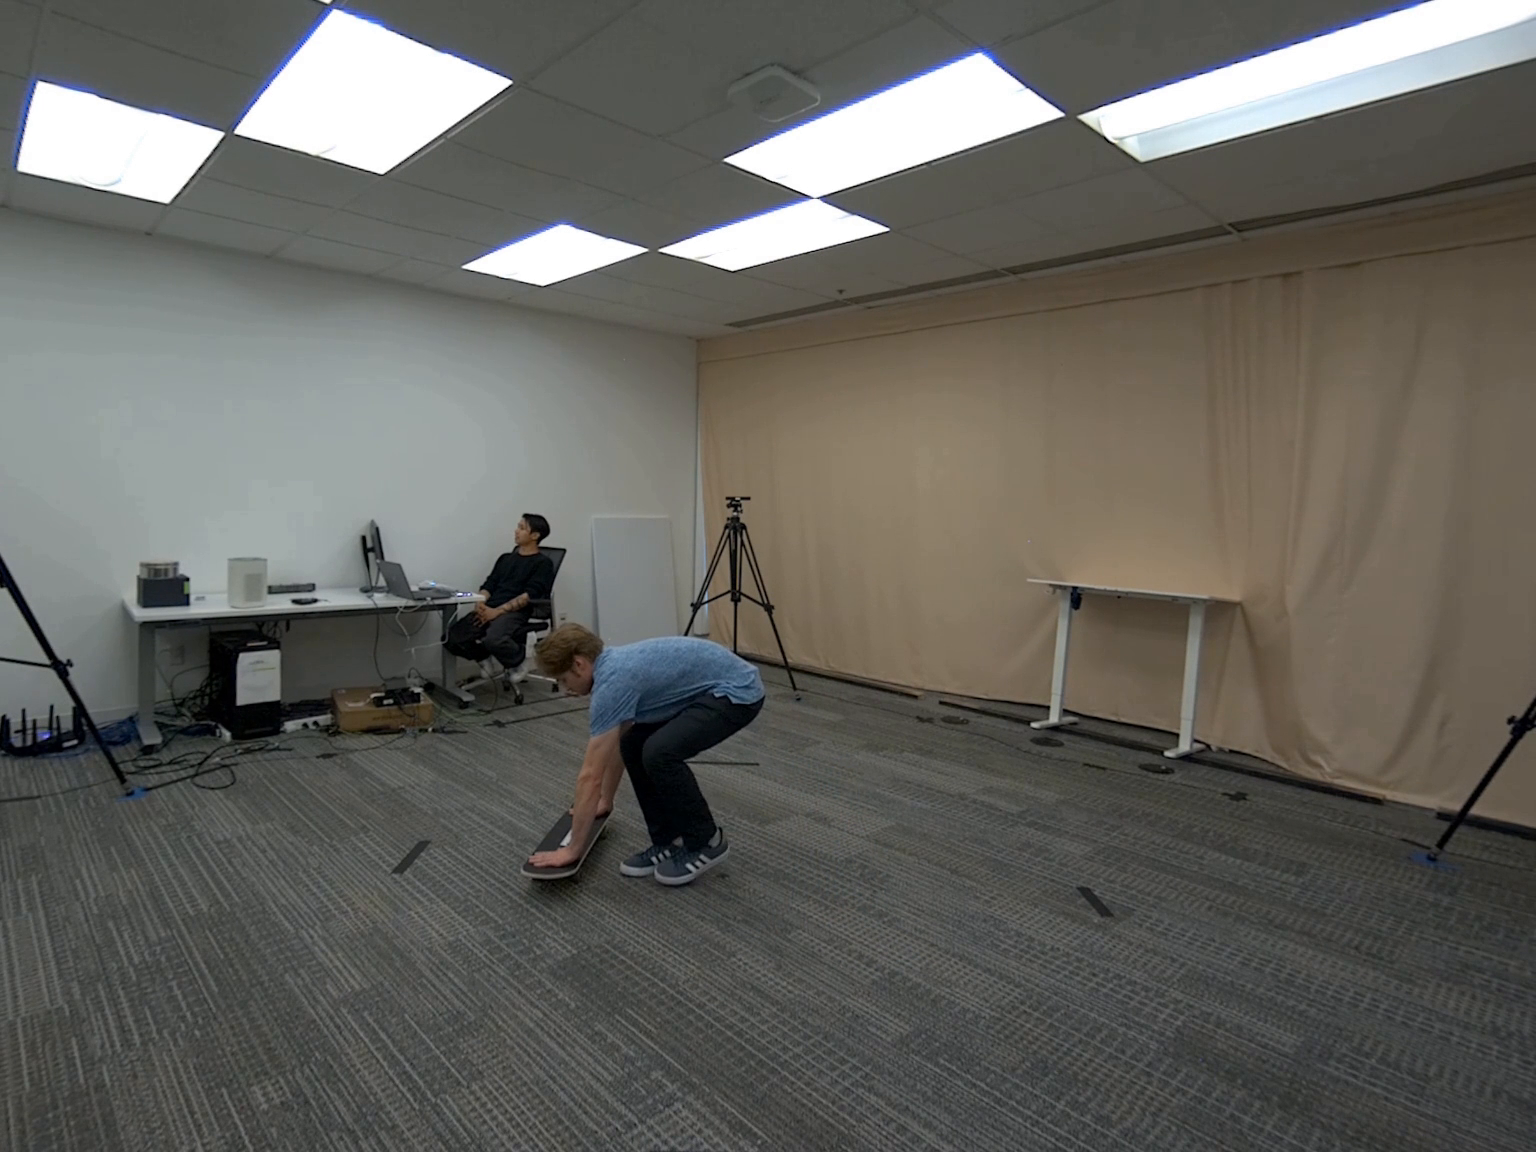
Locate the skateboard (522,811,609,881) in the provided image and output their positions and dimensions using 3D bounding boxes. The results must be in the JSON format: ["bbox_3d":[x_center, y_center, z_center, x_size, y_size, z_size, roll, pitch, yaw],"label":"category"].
[{"bbox_3d":[-0.754,1.020,3.233,0.194,0.110,0.785,0,5,3],"label":"skateboard"}]
